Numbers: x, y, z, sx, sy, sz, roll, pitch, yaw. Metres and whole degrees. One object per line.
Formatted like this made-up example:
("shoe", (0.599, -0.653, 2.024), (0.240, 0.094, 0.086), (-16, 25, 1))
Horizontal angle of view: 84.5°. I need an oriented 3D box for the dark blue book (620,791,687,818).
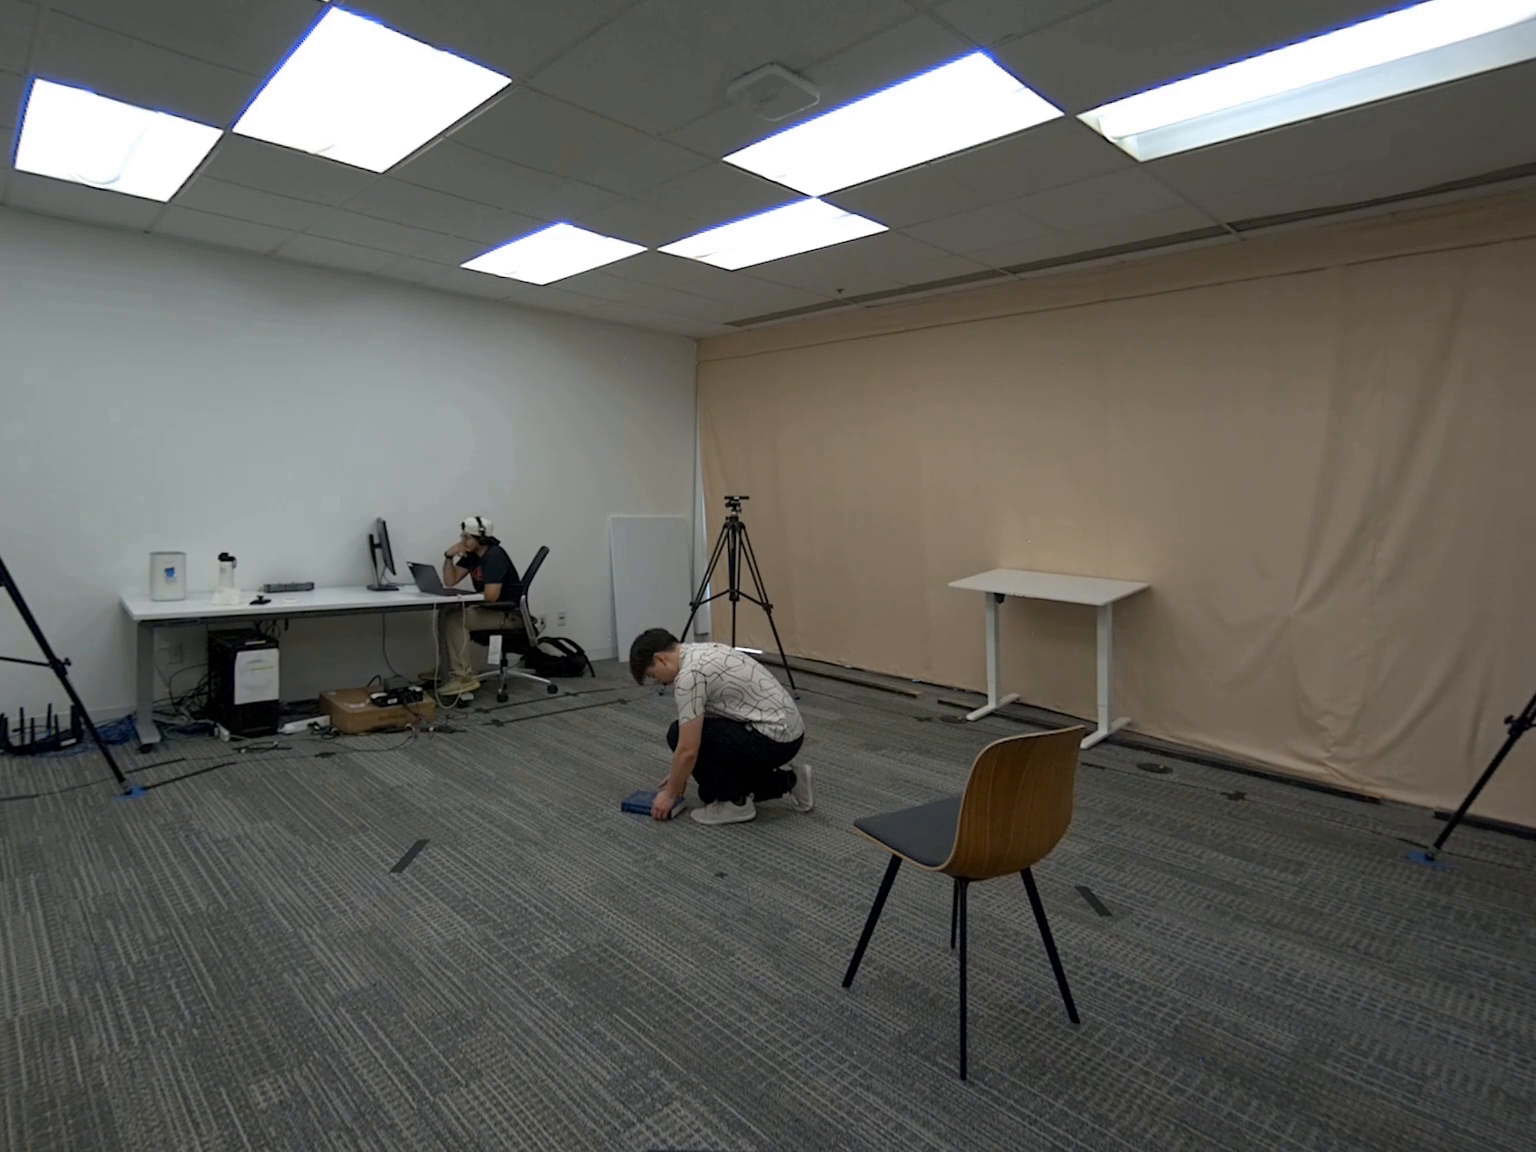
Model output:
("dark blue book", (-0.512, 1.009, 3.746), (0.249, 0.045, 0.161), (3, 5, 20))
